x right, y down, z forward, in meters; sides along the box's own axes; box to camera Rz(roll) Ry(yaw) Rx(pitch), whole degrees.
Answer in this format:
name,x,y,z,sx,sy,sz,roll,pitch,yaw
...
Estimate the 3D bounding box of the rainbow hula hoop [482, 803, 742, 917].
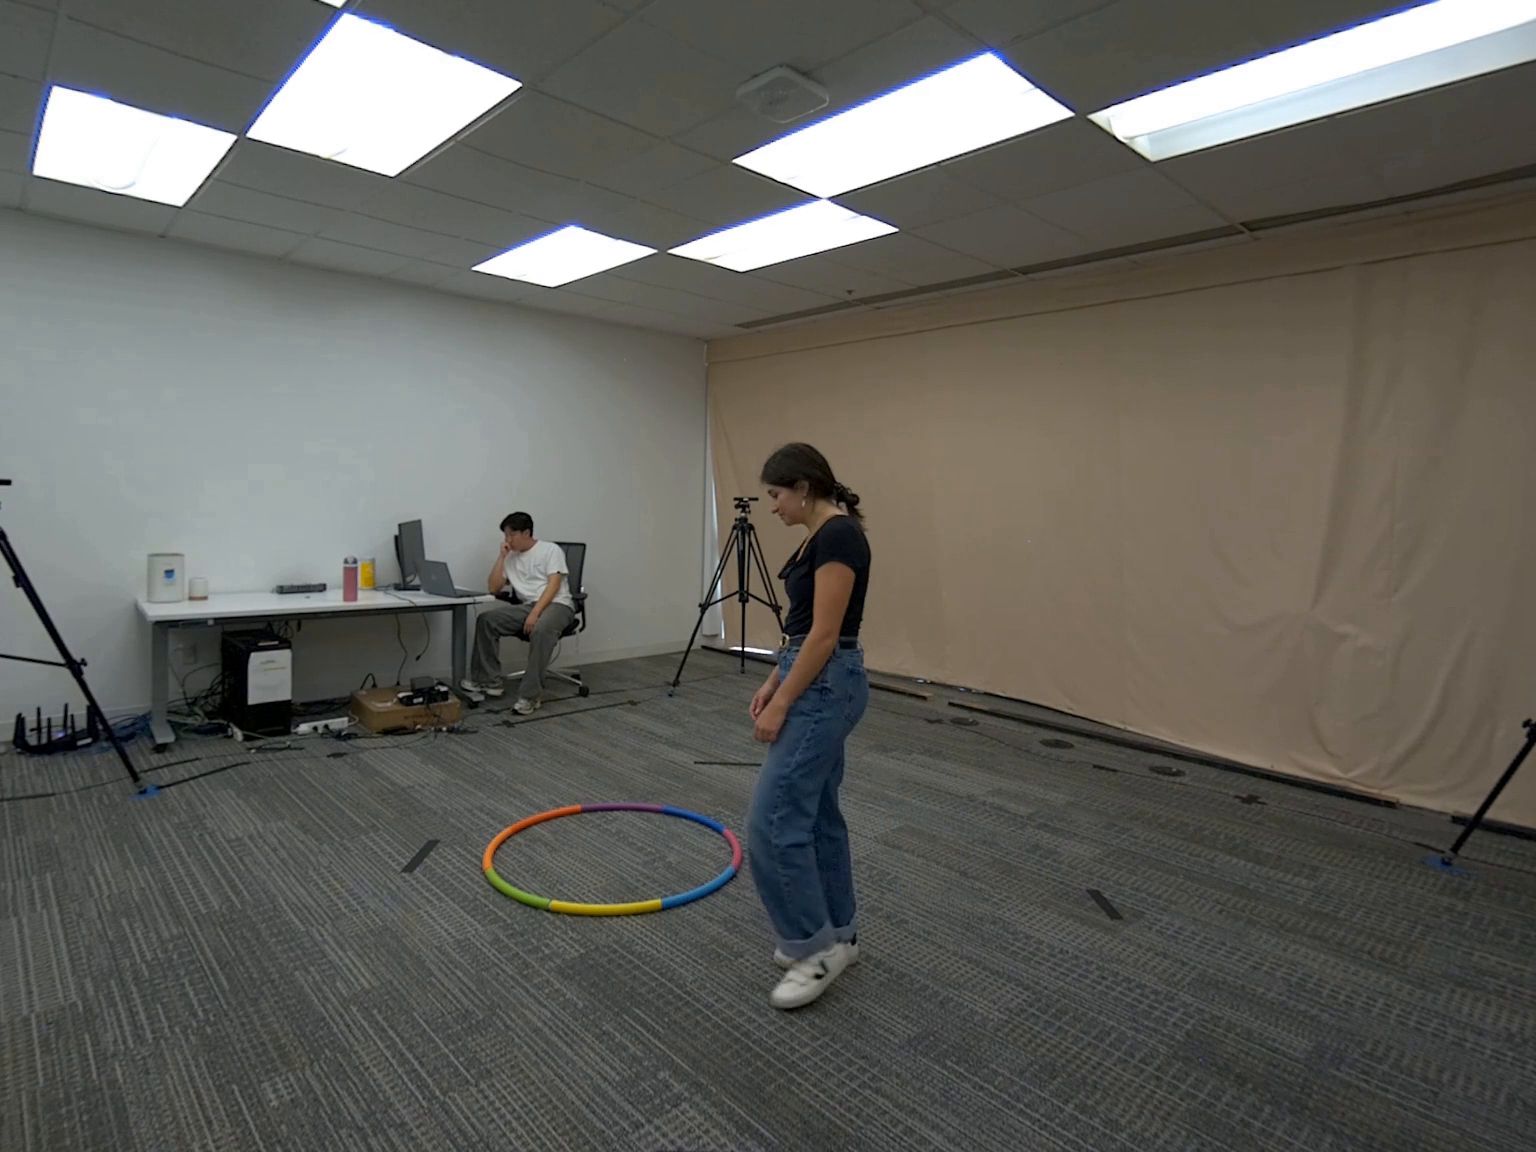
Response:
name,x,y,z,sx,sy,sz,roll,pitch,yaw
rainbow hula hoop,-0.595,1.057,3.261,0.978,0.035,0.982,2,5,-1
